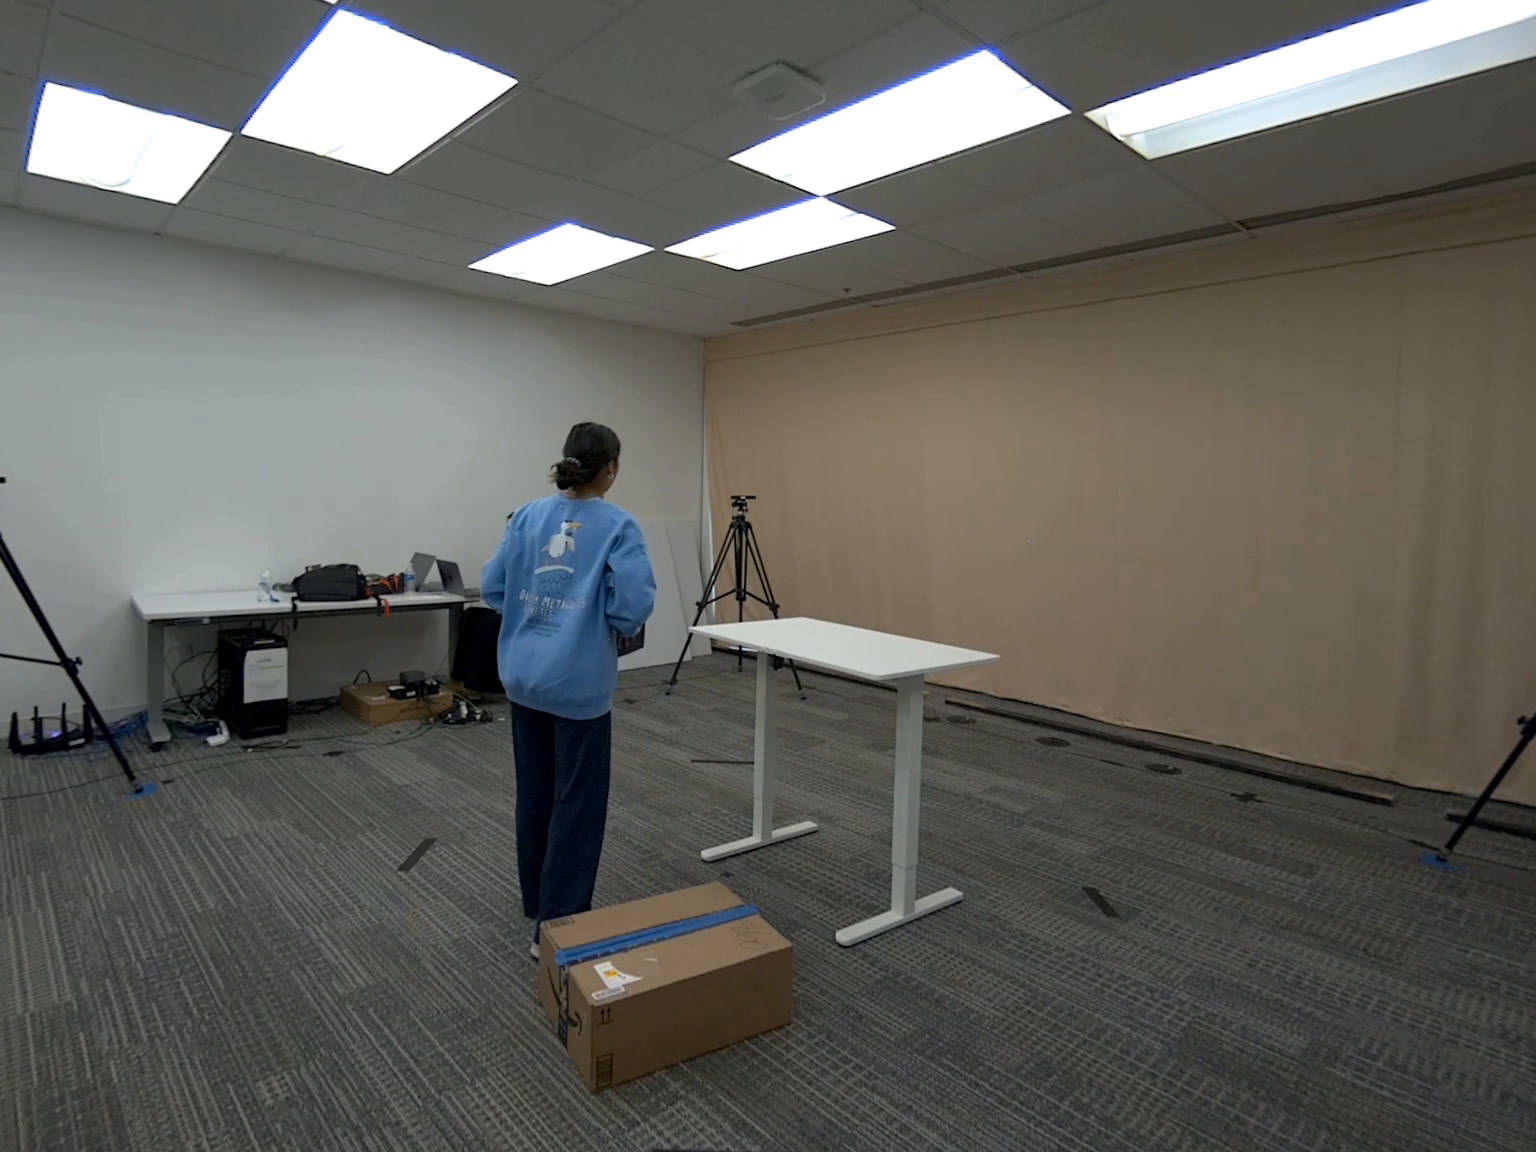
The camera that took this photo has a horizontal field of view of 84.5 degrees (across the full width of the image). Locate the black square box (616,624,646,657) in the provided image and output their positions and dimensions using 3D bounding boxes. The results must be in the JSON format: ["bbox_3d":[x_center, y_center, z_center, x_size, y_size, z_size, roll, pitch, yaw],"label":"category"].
[{"bbox_3d":[-0.574,0.175,2.957,0.221,0.155,0.225,11,9,21],"label":"black square box"}]
